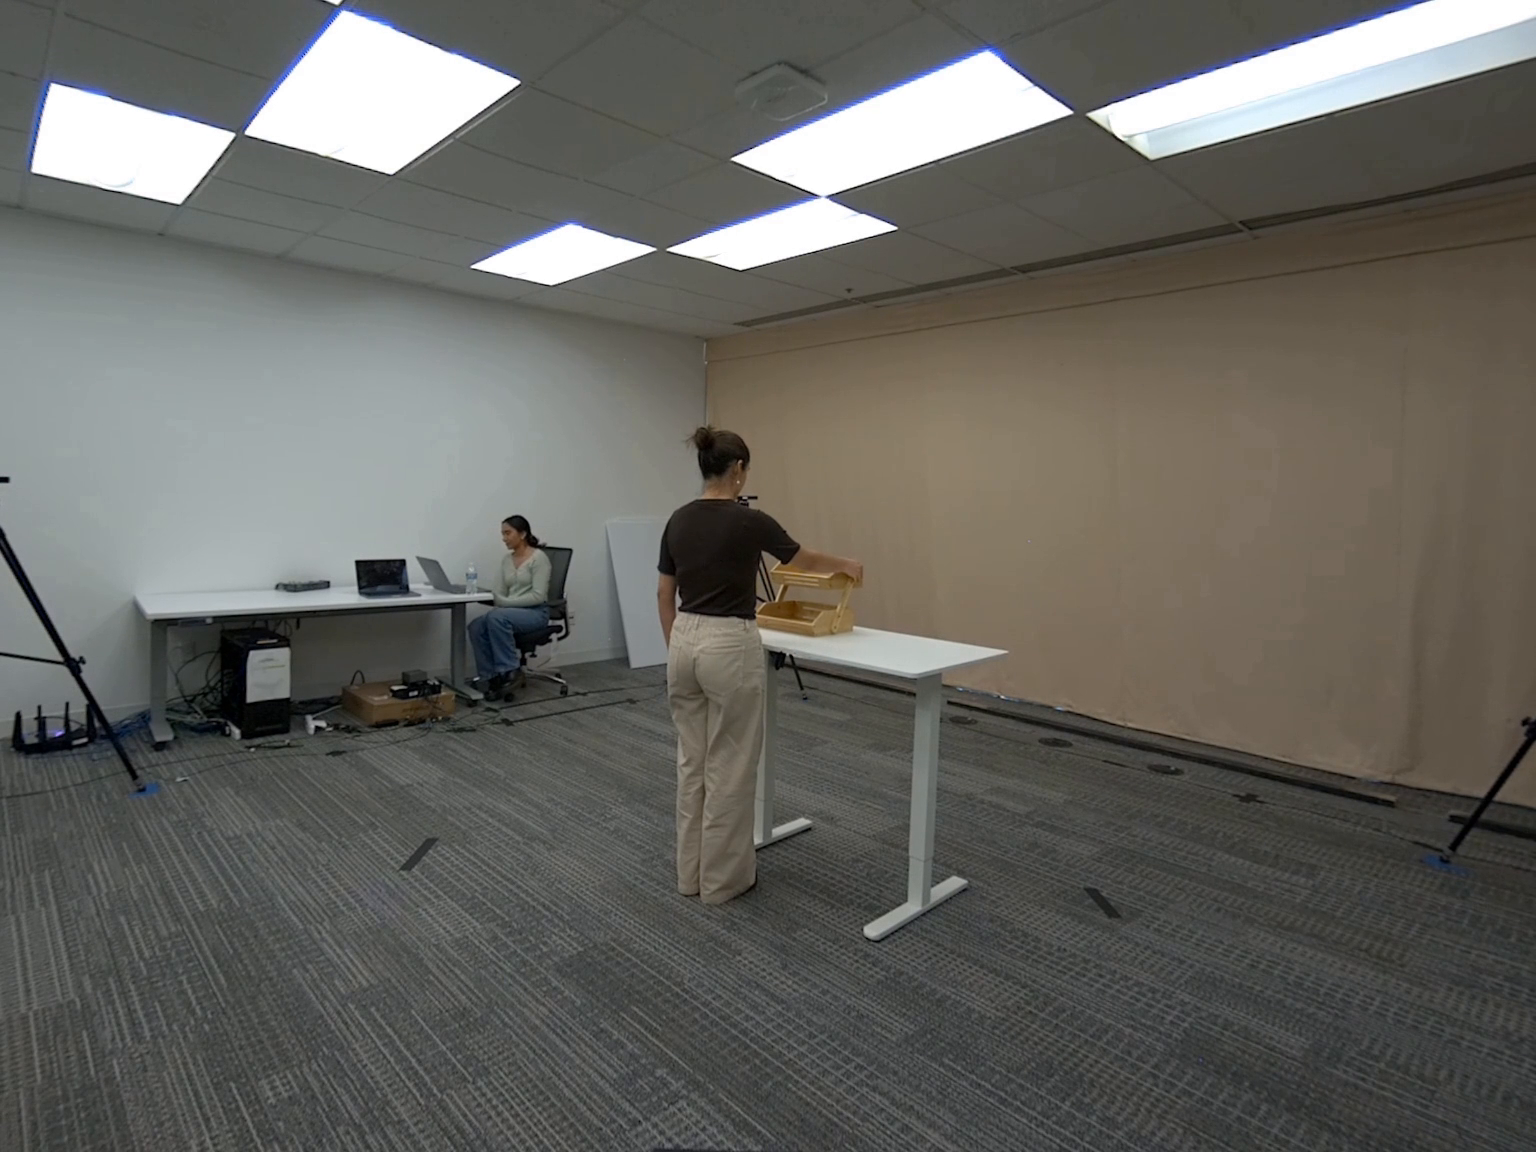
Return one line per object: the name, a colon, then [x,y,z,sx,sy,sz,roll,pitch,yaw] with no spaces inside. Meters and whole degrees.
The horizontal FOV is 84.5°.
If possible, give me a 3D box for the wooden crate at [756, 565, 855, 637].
wooden crate: [0.151,0.077,3.302,0.333,0.272,0.295,7,6,43]
